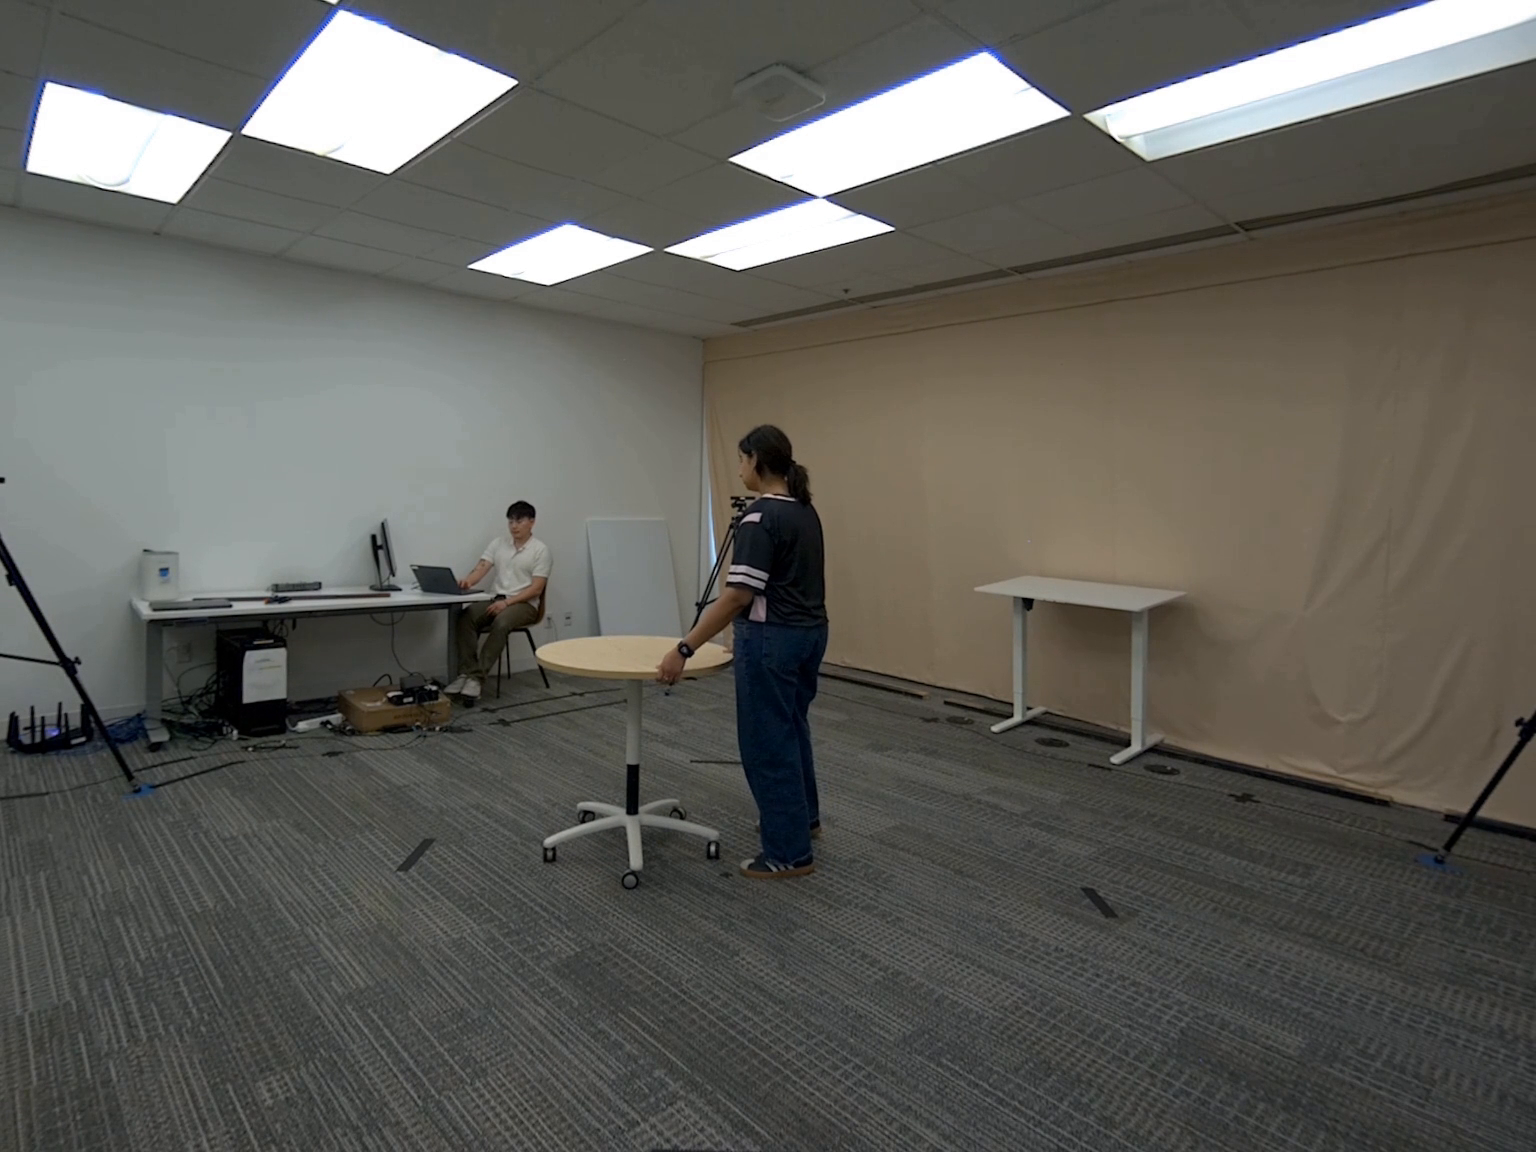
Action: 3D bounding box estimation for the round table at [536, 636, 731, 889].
[{"bbox_3d":[-0.536,0.687,3.306,0.763,0.792,0.766,2,4,-2],"label":"round table"}]
